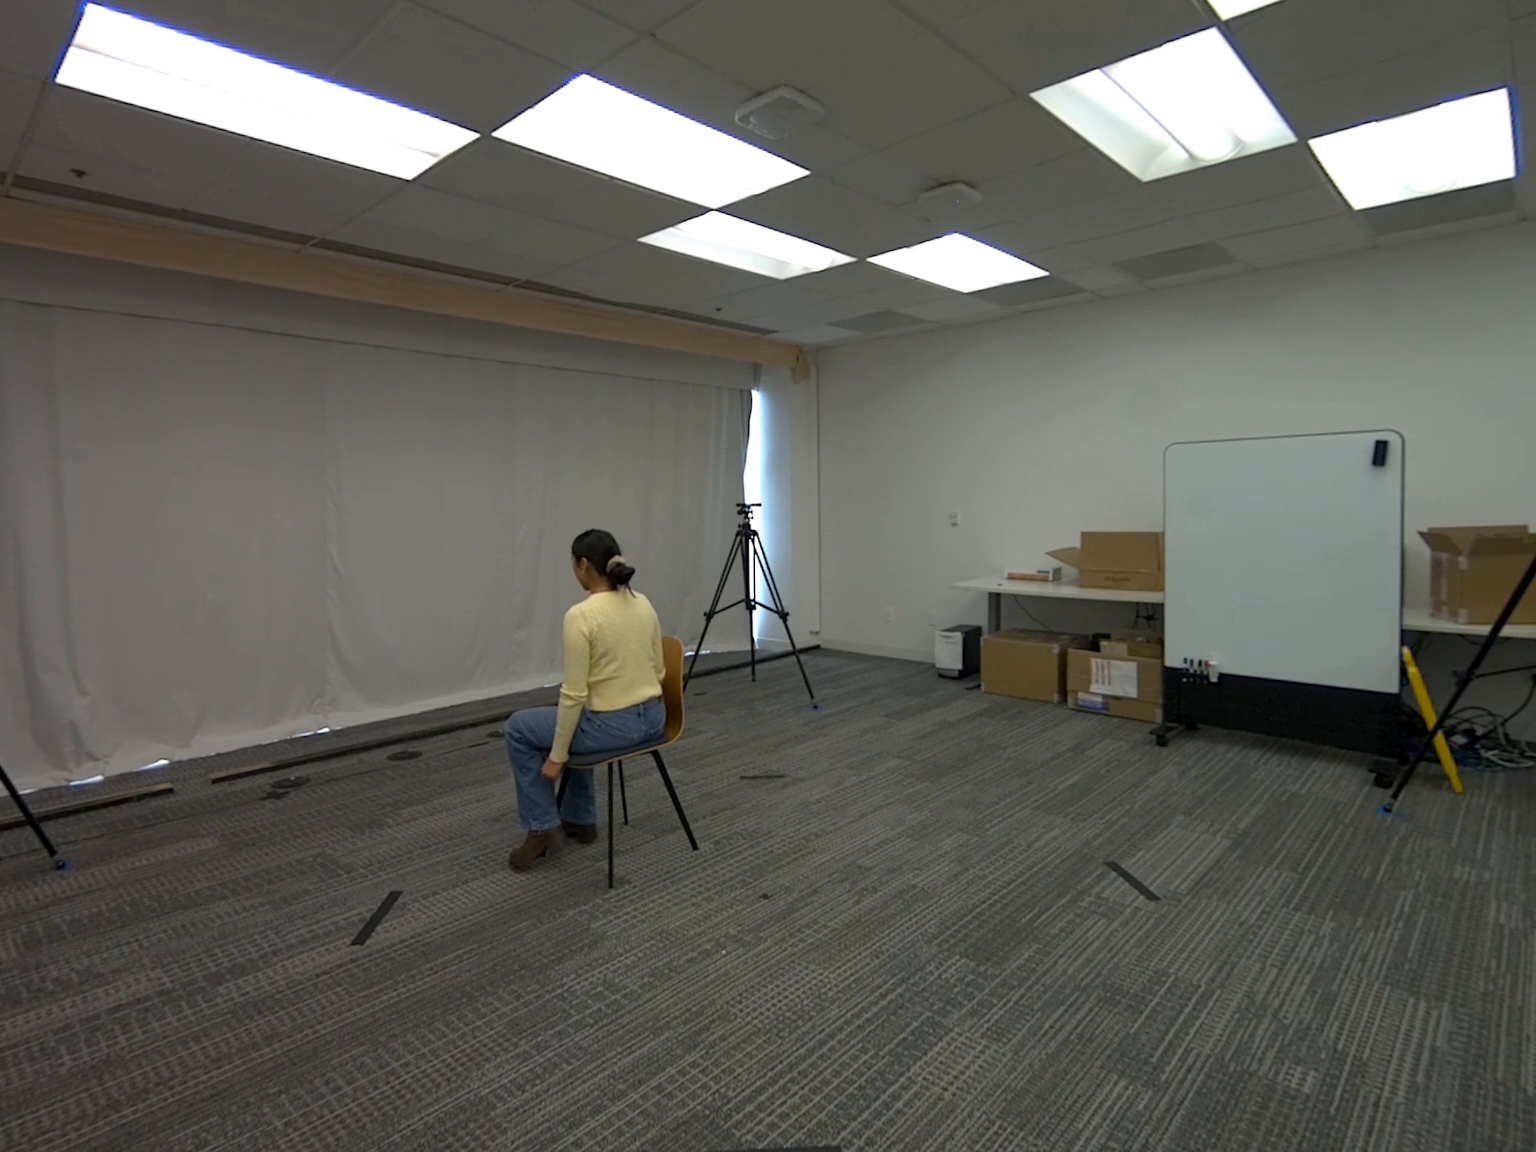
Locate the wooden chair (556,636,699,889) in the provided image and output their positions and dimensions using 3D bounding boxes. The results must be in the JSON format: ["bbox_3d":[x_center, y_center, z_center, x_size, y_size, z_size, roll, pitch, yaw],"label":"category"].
[{"bbox_3d":[-0.603,0.692,3.349,0.494,0.877,0.506,2,1,42],"label":"wooden chair"}]
